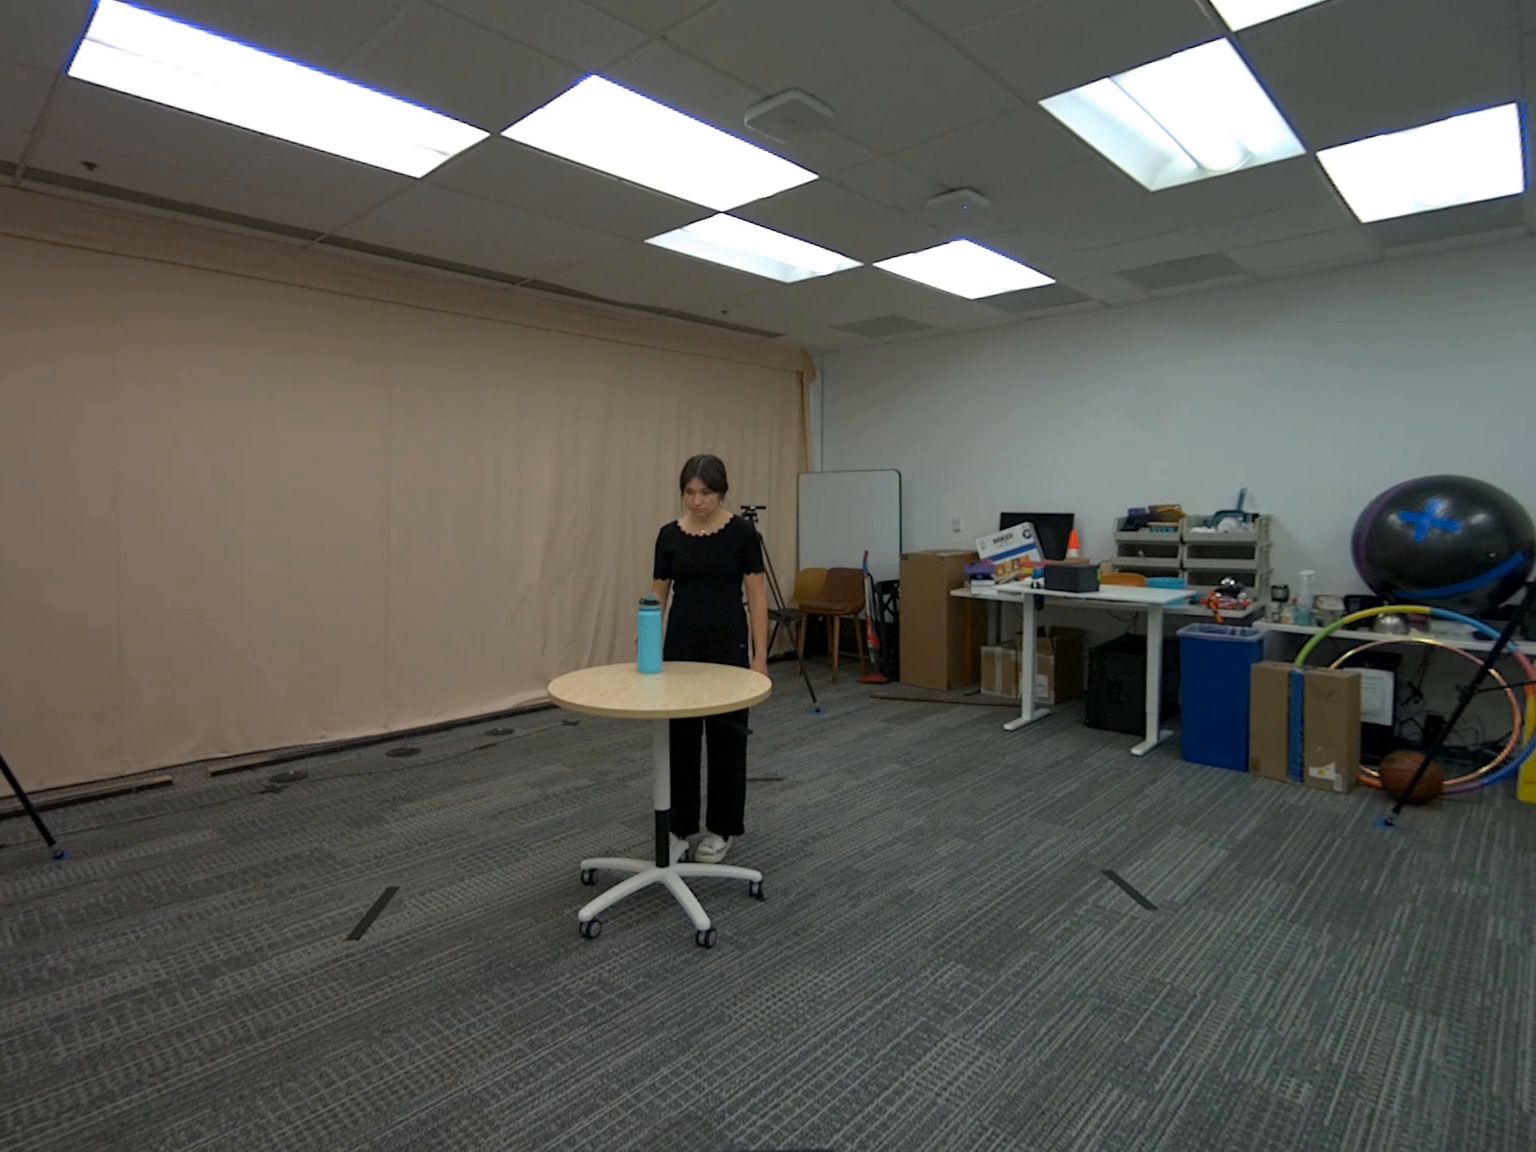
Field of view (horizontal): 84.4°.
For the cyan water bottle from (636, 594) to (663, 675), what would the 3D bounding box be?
[{"bbox_3d":[-0.427,0.208,3.093,0.092,0.283,0.092,2,2,-2],"label":"cyan water bottle"}]
